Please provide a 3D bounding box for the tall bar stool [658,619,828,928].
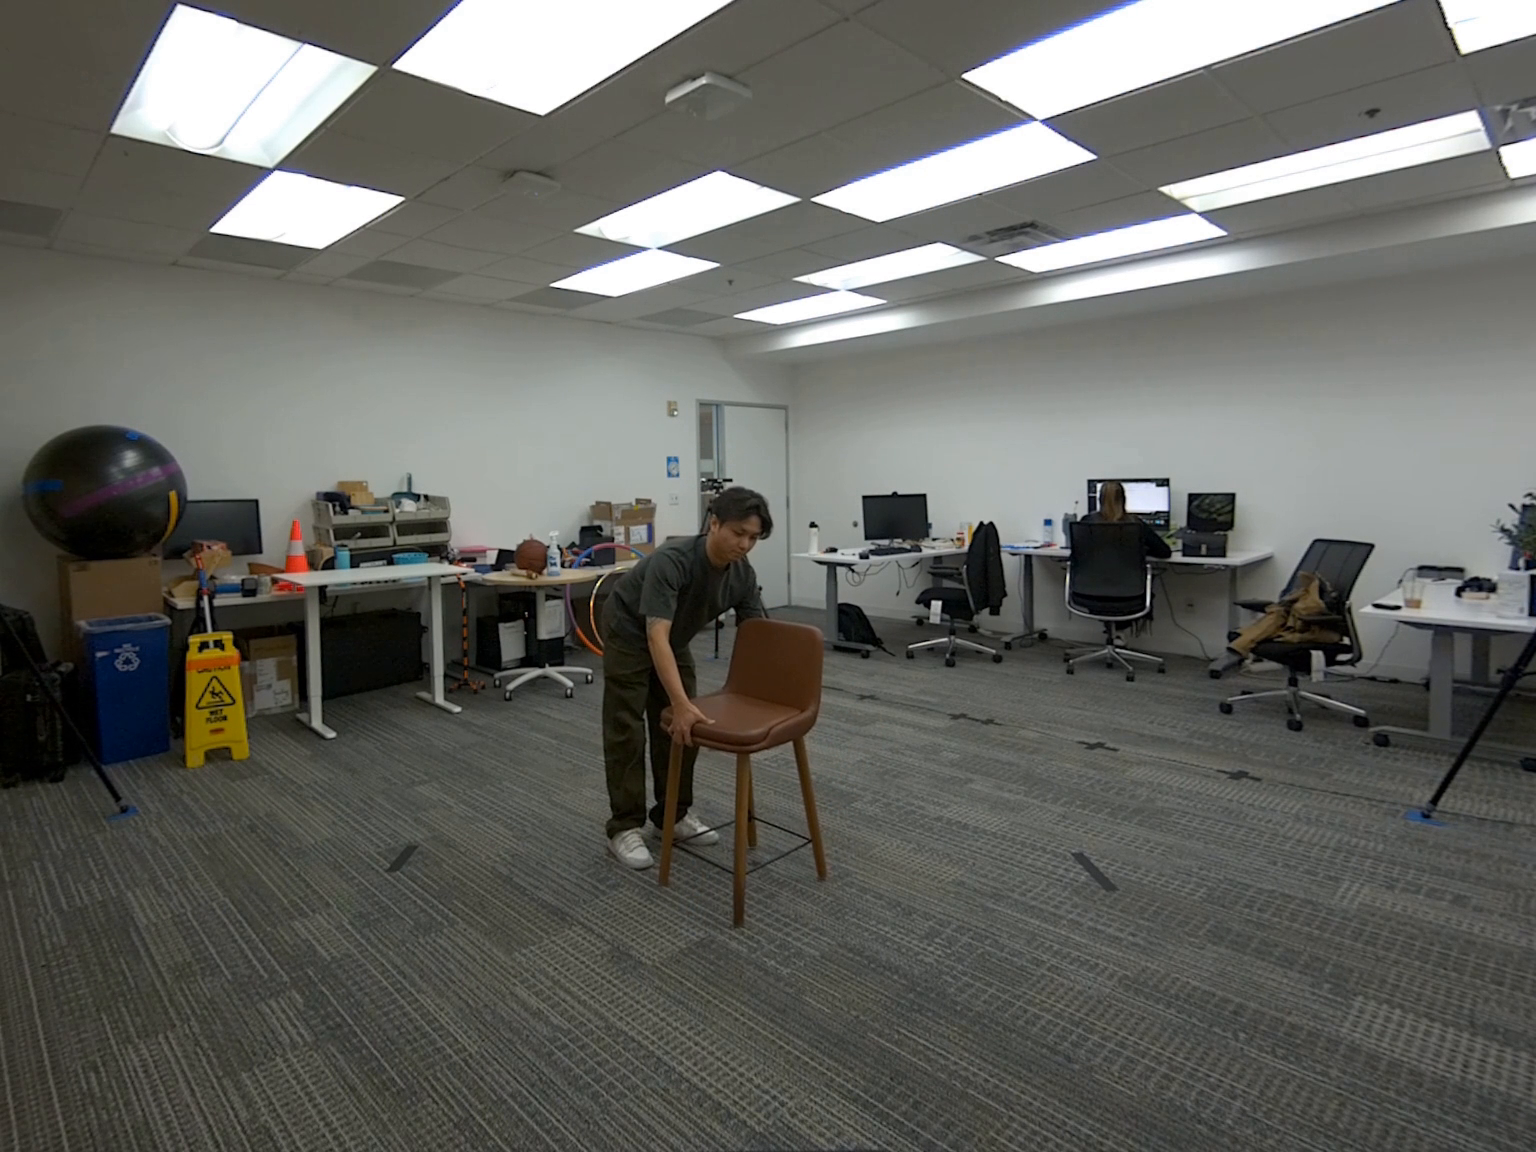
[{"bbox_3d":[-0.080,0.624,2.922,0.455,0.886,0.471,-5,6,-44],"label":"tall bar stool"}]
